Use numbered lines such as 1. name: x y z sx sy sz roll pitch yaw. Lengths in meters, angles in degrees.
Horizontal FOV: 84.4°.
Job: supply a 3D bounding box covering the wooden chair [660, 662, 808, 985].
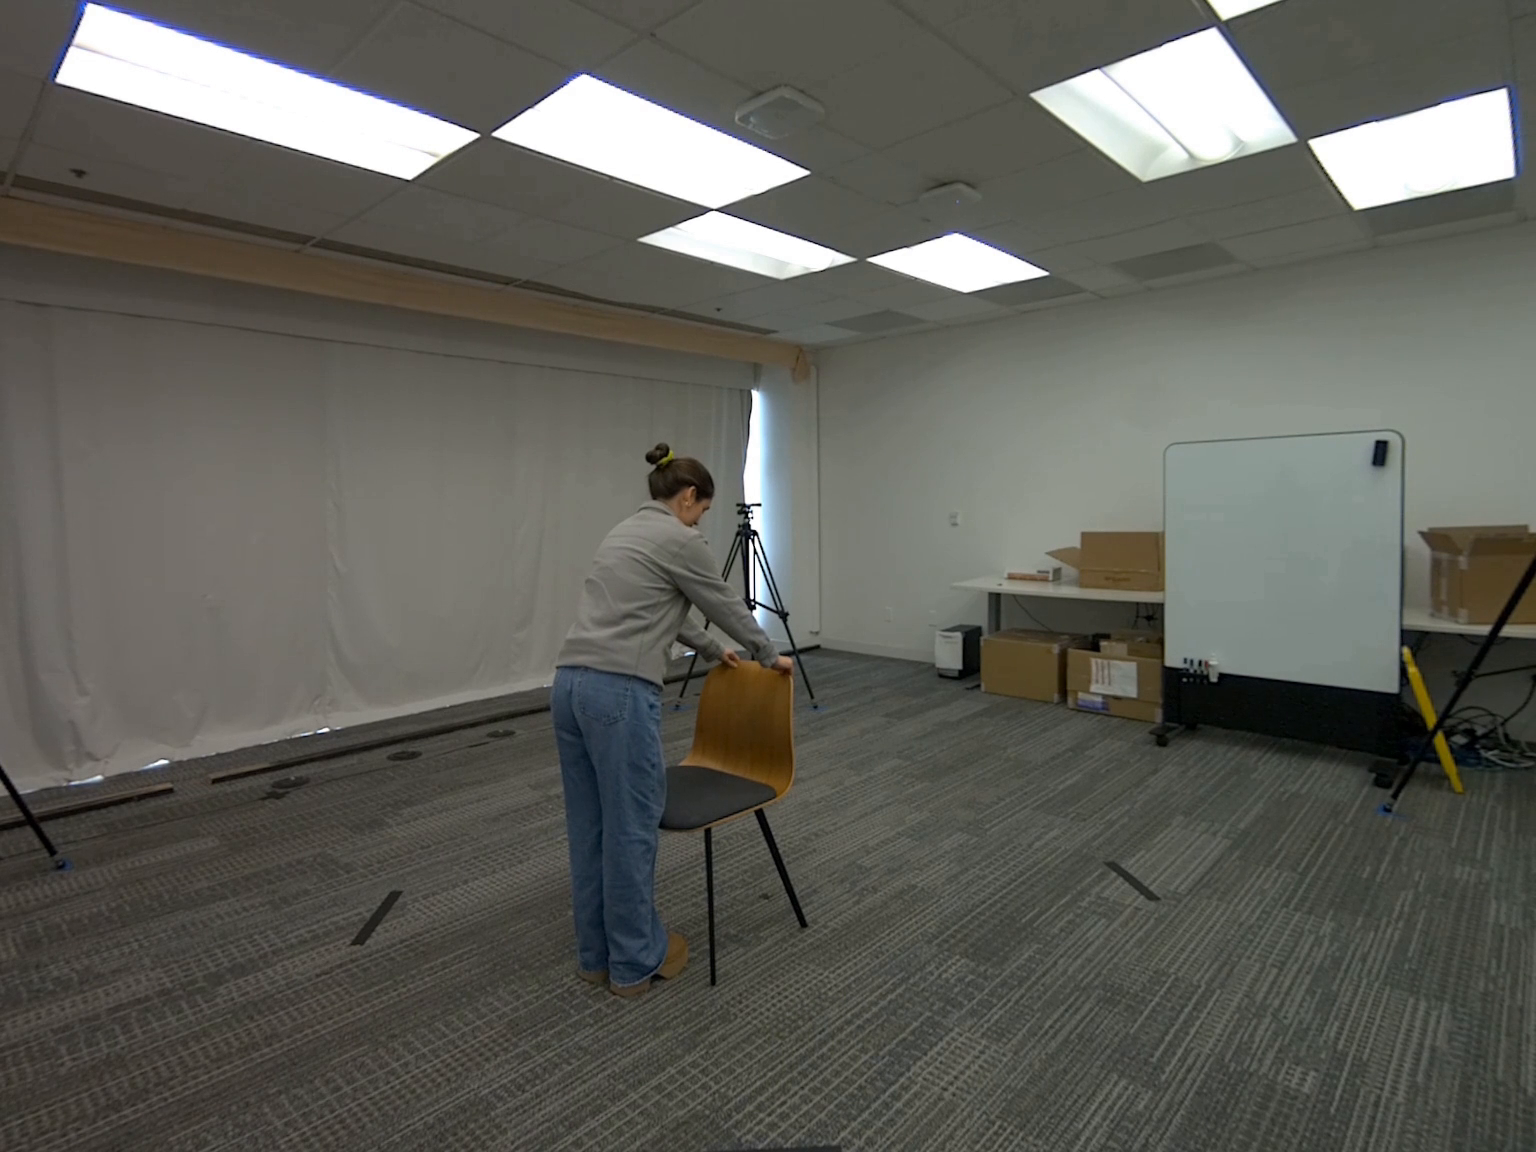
1. wooden chair: -0.189 0.737 2.719 0.494 0.877 0.506 2 0 41
